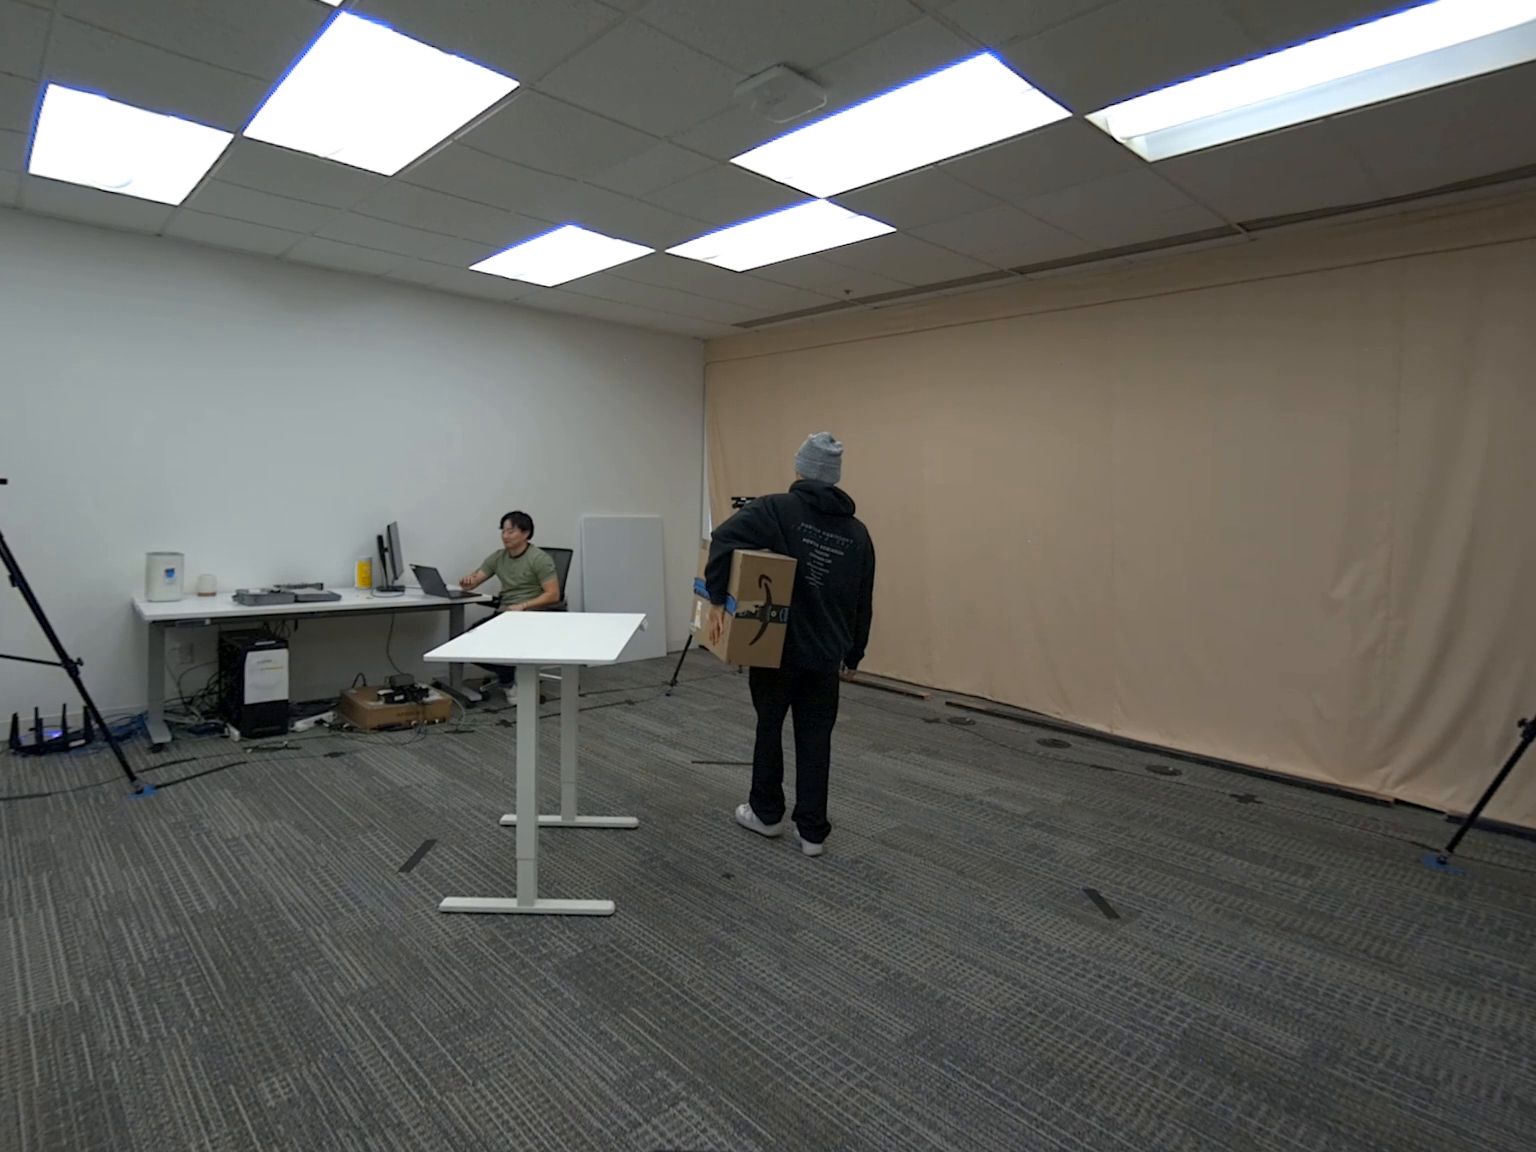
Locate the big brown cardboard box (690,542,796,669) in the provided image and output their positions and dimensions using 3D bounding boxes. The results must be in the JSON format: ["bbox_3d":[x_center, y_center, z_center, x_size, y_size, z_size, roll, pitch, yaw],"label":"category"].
[{"bbox_3d":[-0.128,0.089,3.363,0.229,0.416,0.600,6,5,-19],"label":"big brown cardboard box"}]
